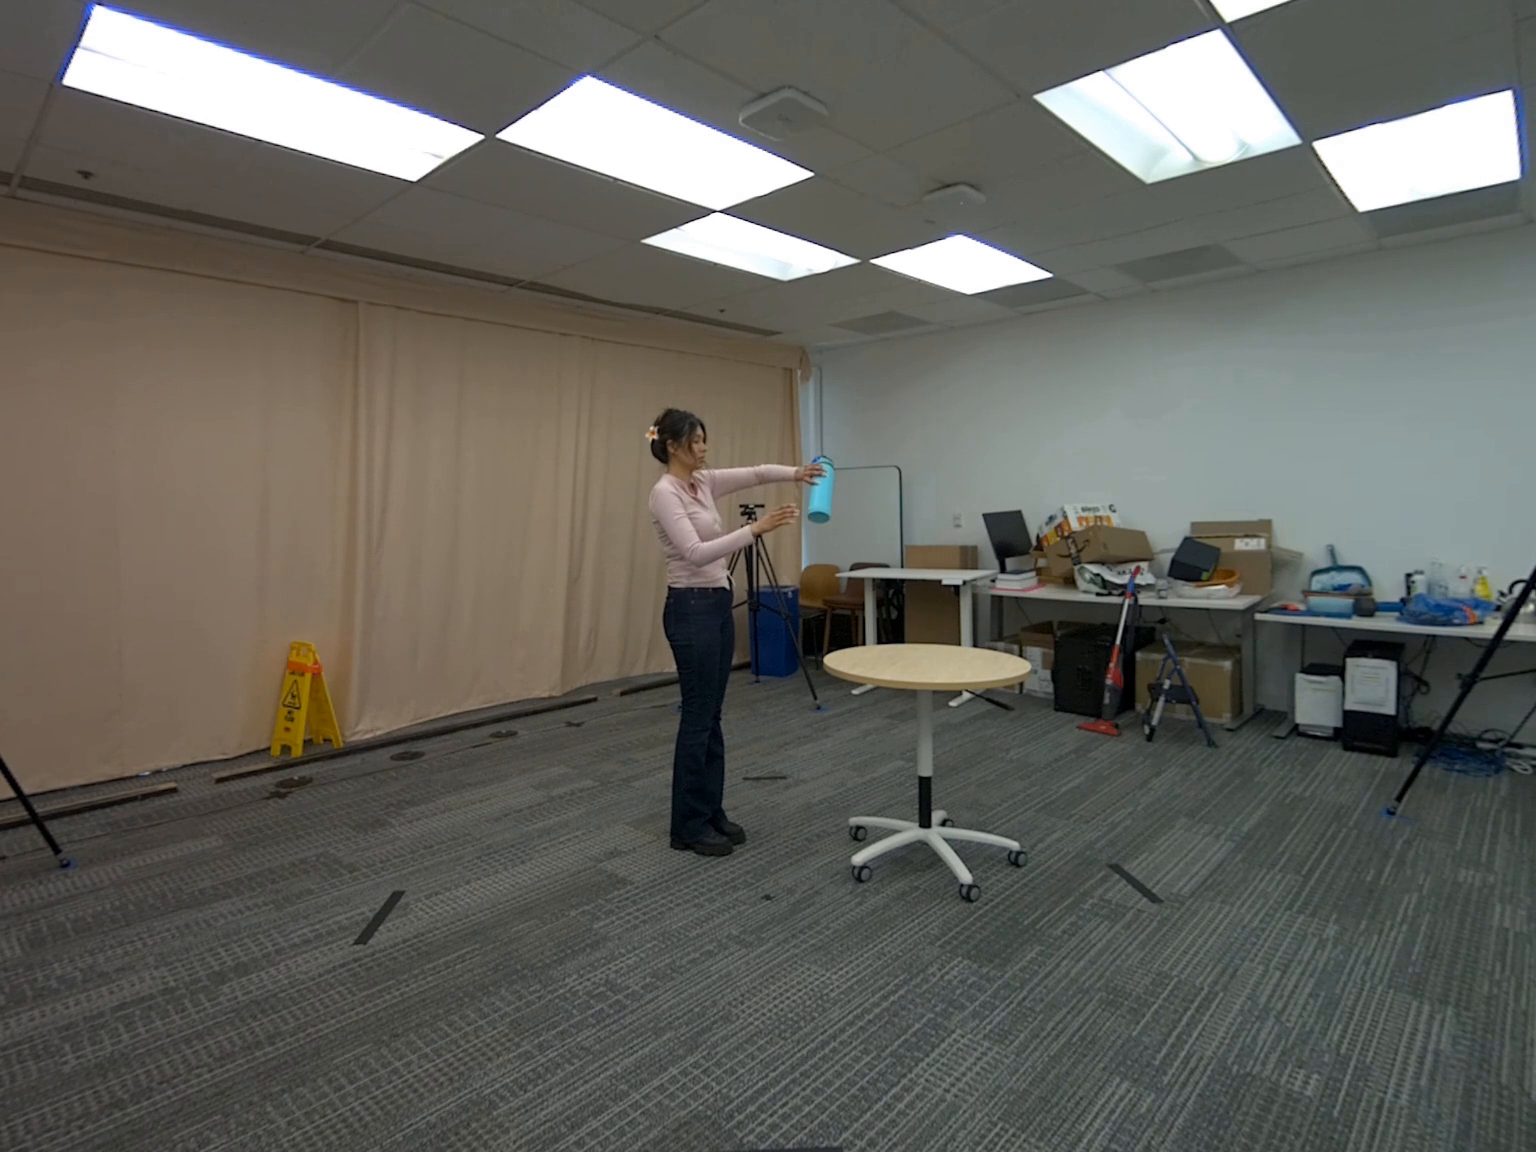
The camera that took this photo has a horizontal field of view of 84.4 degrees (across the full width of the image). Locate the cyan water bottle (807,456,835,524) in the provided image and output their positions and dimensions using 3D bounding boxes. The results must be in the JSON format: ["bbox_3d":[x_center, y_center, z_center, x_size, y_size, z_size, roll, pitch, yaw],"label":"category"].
[{"bbox_3d":[0.215,-0.348,3.304,0.092,0.286,0.091,6,-26,1],"label":"cyan water bottle"}]
